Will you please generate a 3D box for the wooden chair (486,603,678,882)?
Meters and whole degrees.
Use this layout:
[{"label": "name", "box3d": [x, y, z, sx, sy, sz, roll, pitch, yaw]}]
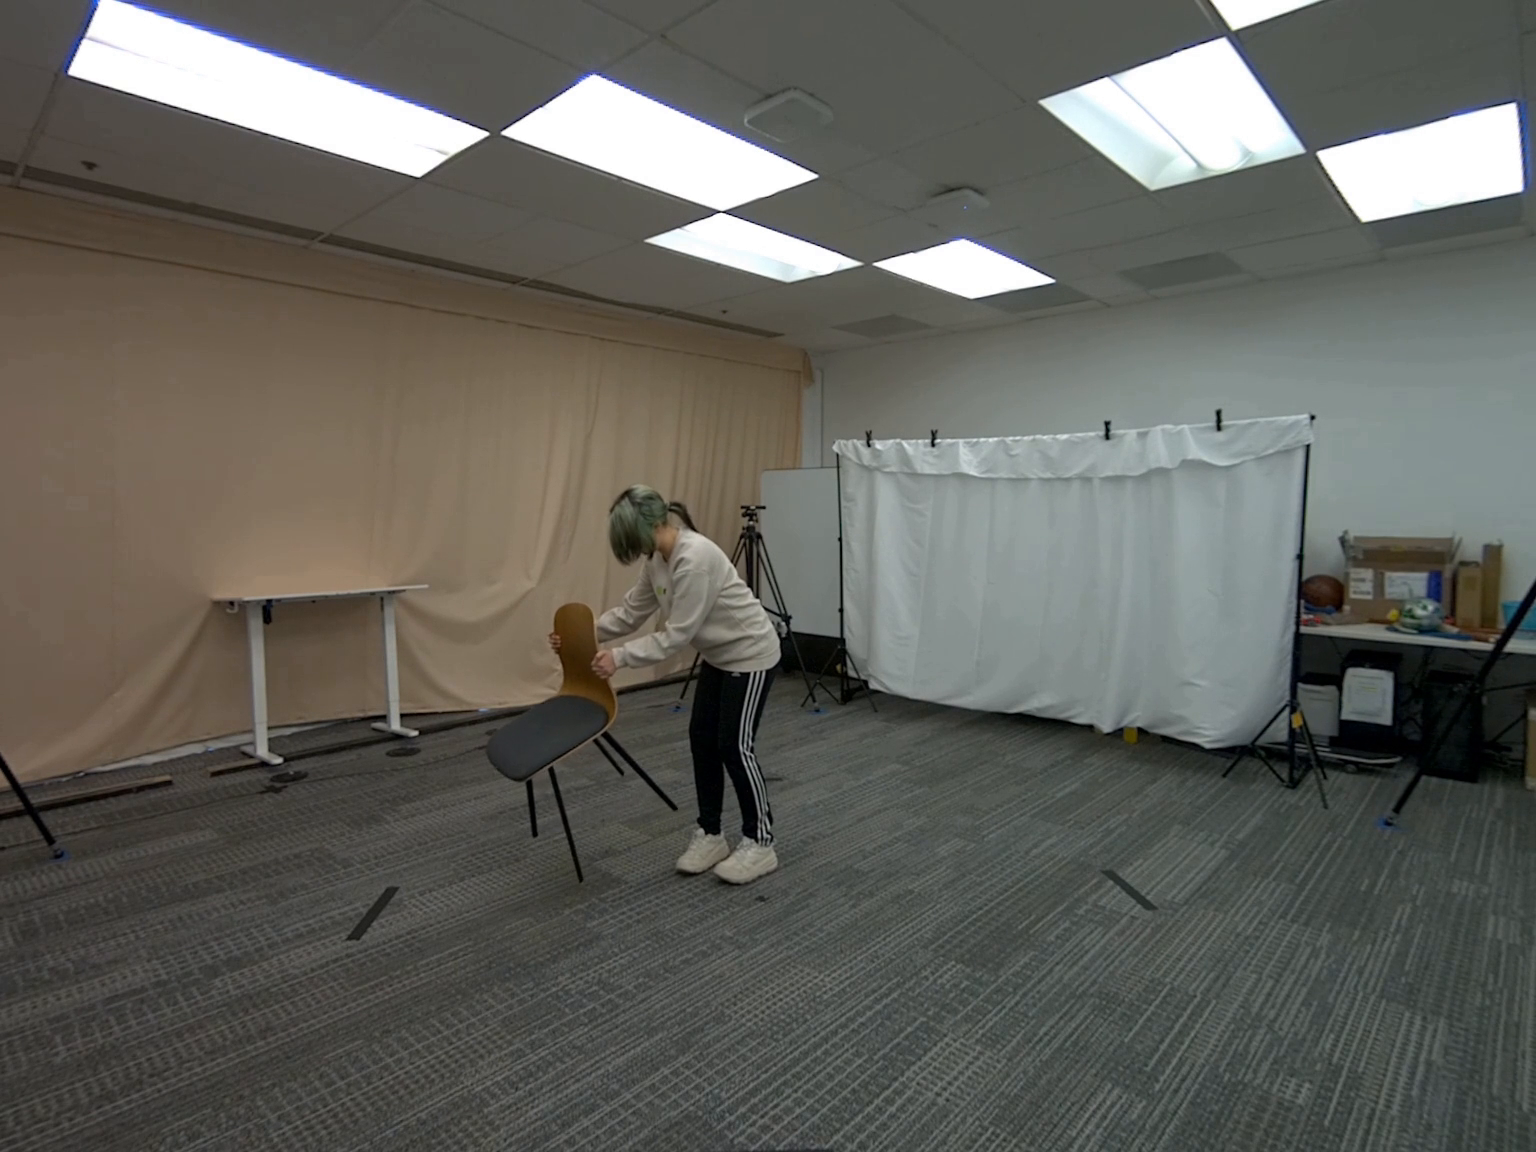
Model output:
[{"label": "wooden chair", "box3d": [-0.777, 0.611, 3.184, 0.513, 0.864, 0.494, -26, 21, -31]}]
